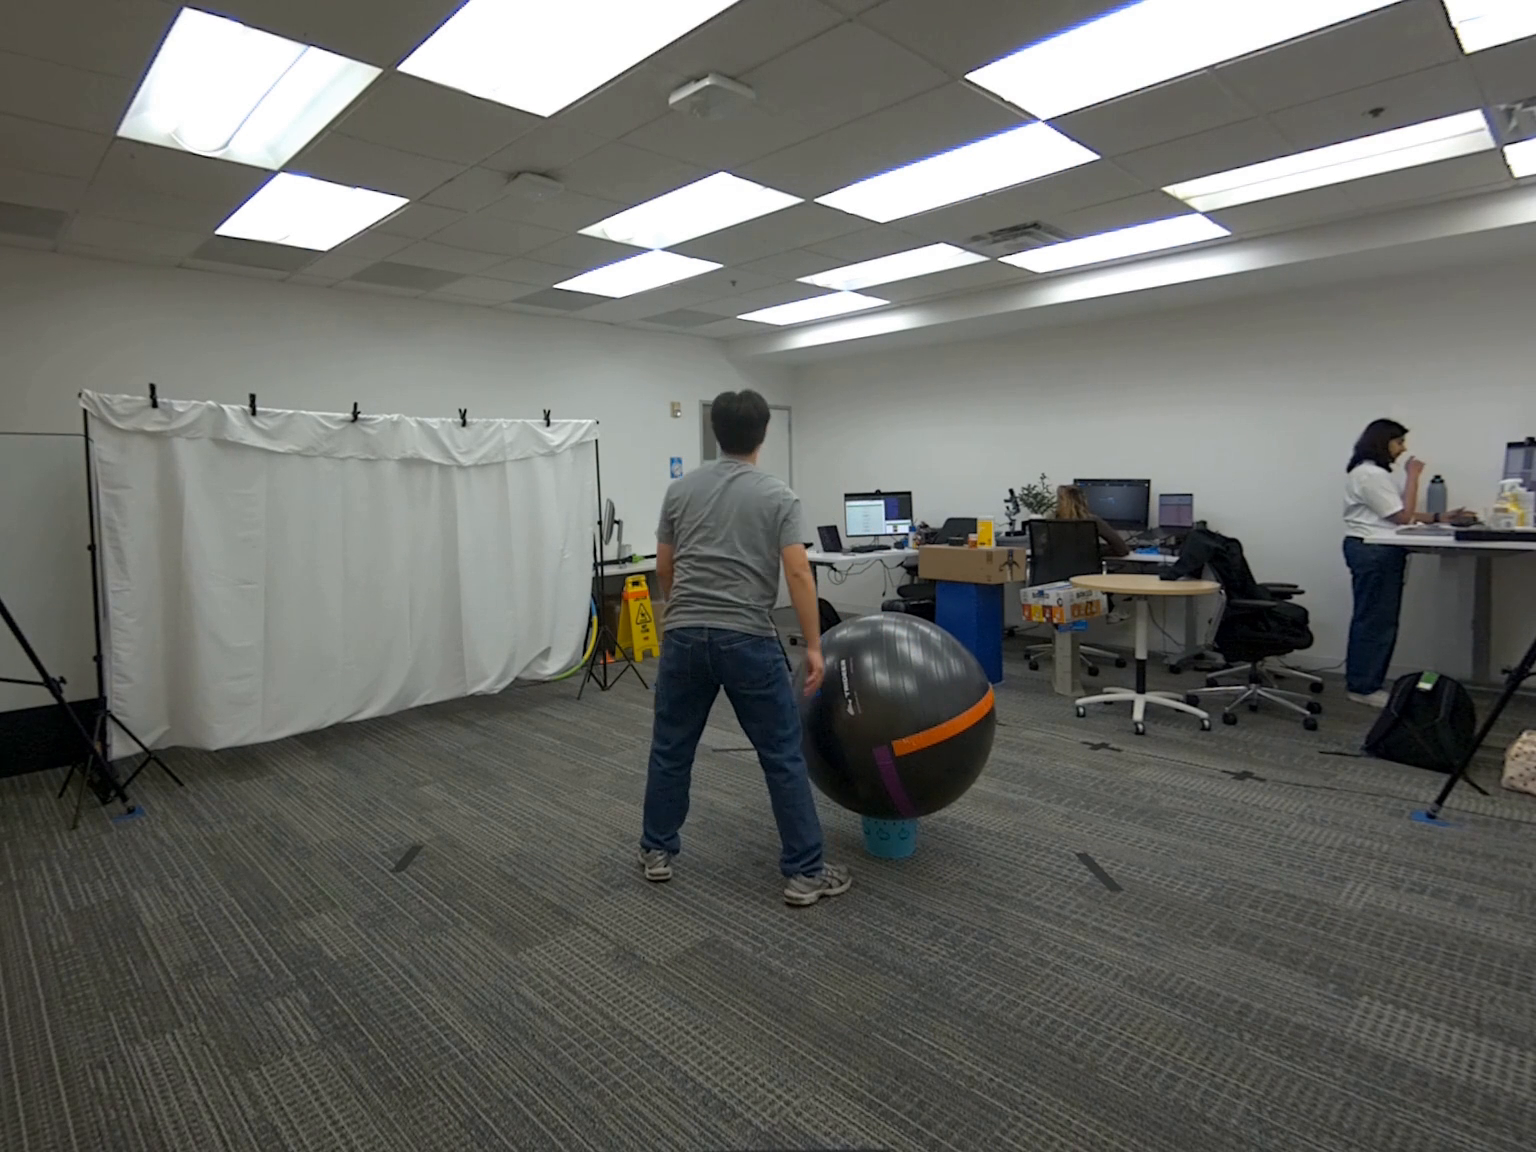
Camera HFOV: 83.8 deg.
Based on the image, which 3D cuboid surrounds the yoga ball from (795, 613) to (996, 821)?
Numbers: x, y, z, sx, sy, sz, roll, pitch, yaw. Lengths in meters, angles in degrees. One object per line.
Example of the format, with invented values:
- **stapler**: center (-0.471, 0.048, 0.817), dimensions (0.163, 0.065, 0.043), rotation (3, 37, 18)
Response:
- **yoga ball**: center (0.466, 0.522, 3.194), dimensions (0.757, 0.755, 0.762), rotation (-1, 5, -2)
